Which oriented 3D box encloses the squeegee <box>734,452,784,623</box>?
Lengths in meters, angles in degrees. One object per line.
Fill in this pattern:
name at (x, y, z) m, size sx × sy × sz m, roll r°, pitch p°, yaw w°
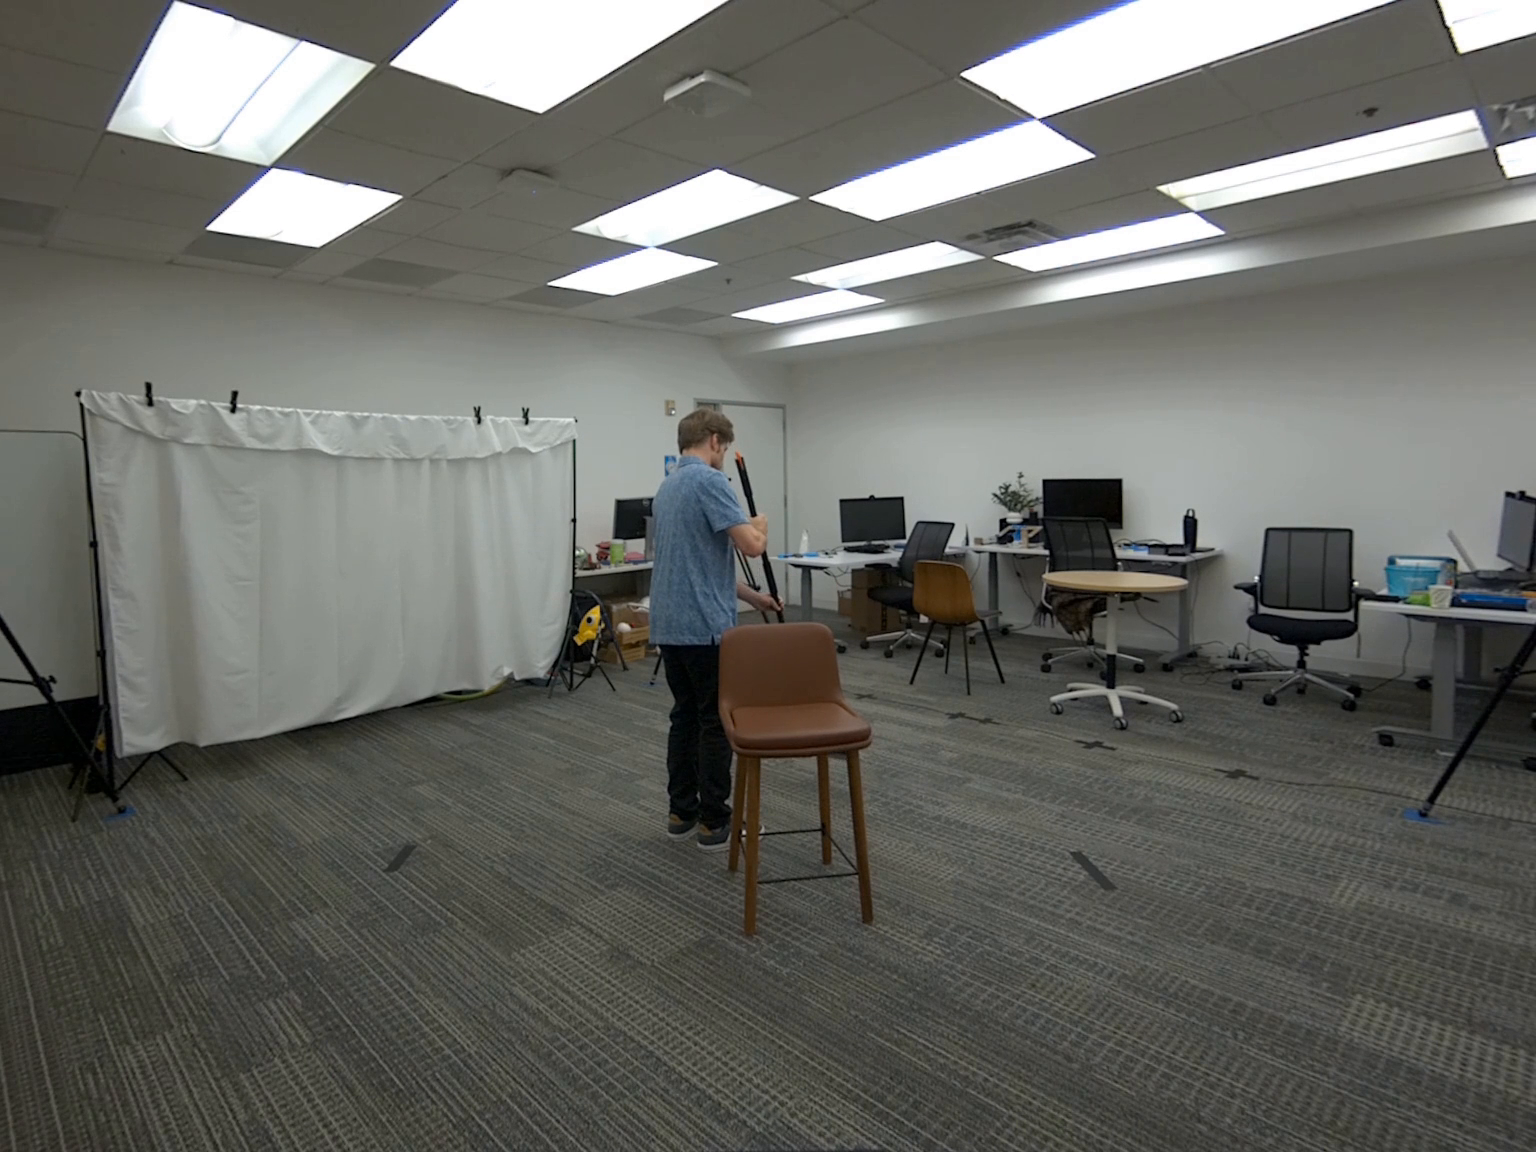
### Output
squeegee at (0.050, 0.161, 3.677) m, size 0.449 × 1.499 × 0.053 m, roll 2°, pitch 29°, yaw 31°
